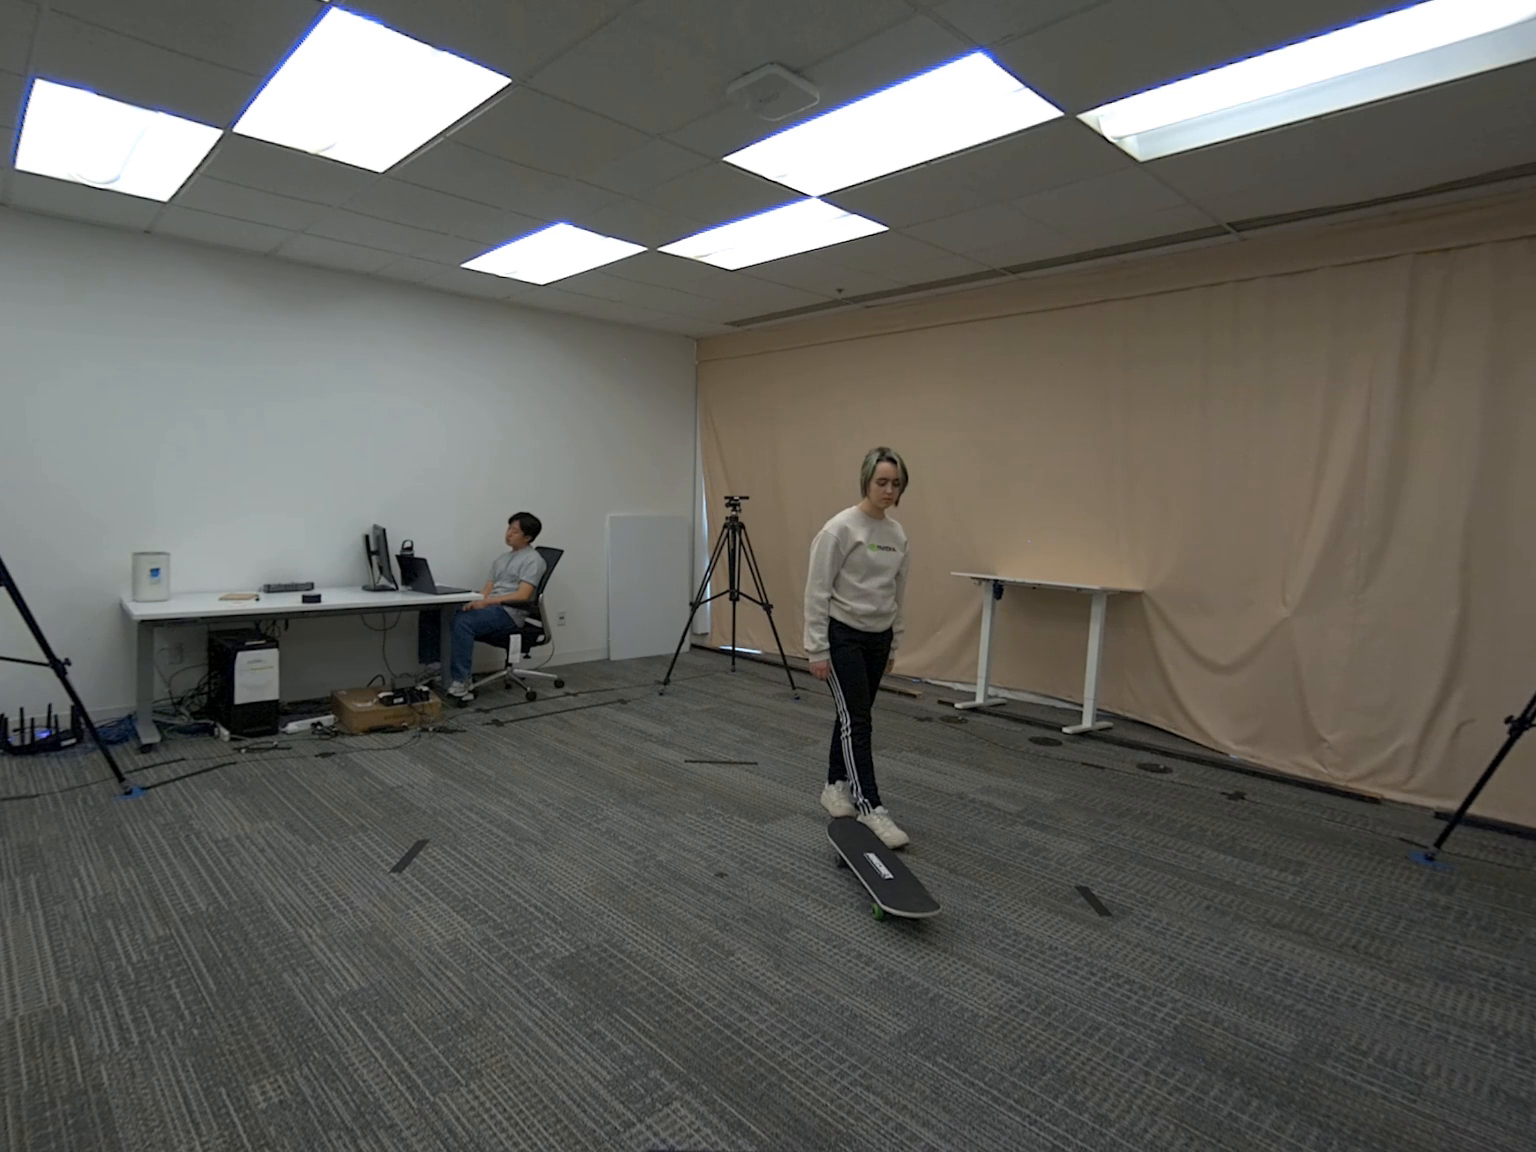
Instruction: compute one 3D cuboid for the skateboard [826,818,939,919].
[{"bbox_3d":[0.392,1.068,3.016,0.192,0.110,0.795,-1,6,-13],"label":"skateboard"}]
